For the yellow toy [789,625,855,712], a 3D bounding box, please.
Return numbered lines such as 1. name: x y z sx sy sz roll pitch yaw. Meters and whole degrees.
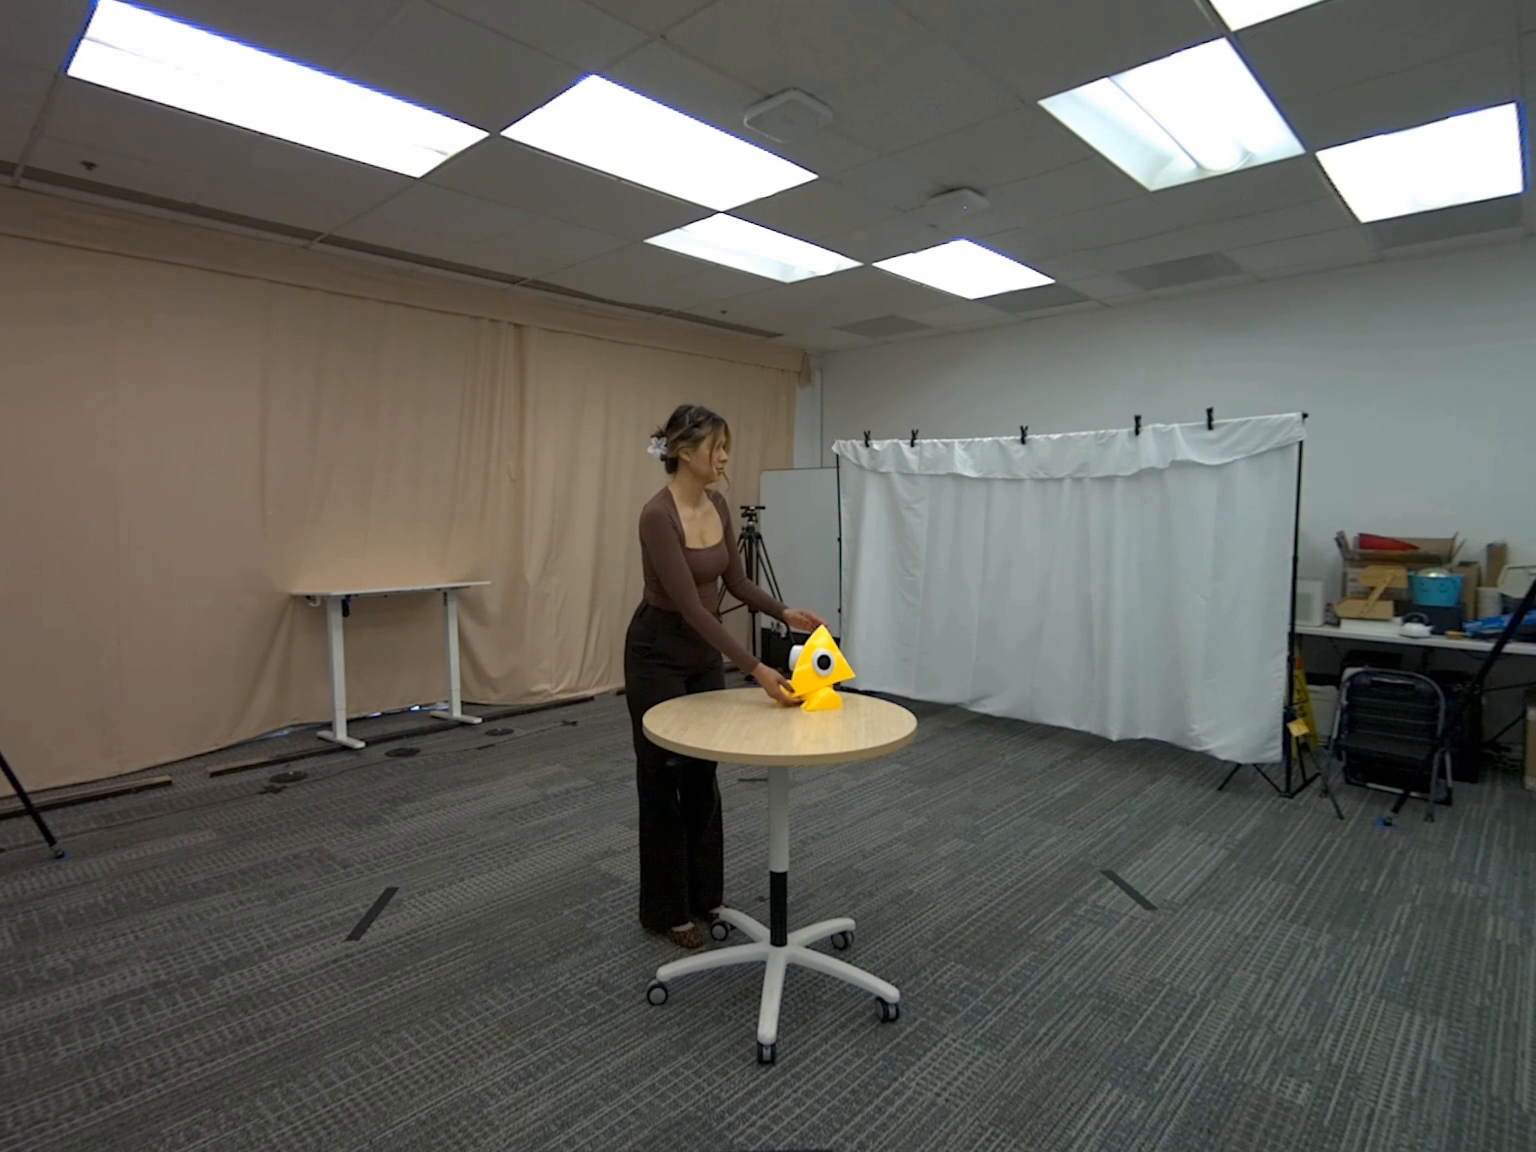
1. yellow toy: 0.136 0.271 2.543 0.187 0.230 0.212 -3 5 -44
